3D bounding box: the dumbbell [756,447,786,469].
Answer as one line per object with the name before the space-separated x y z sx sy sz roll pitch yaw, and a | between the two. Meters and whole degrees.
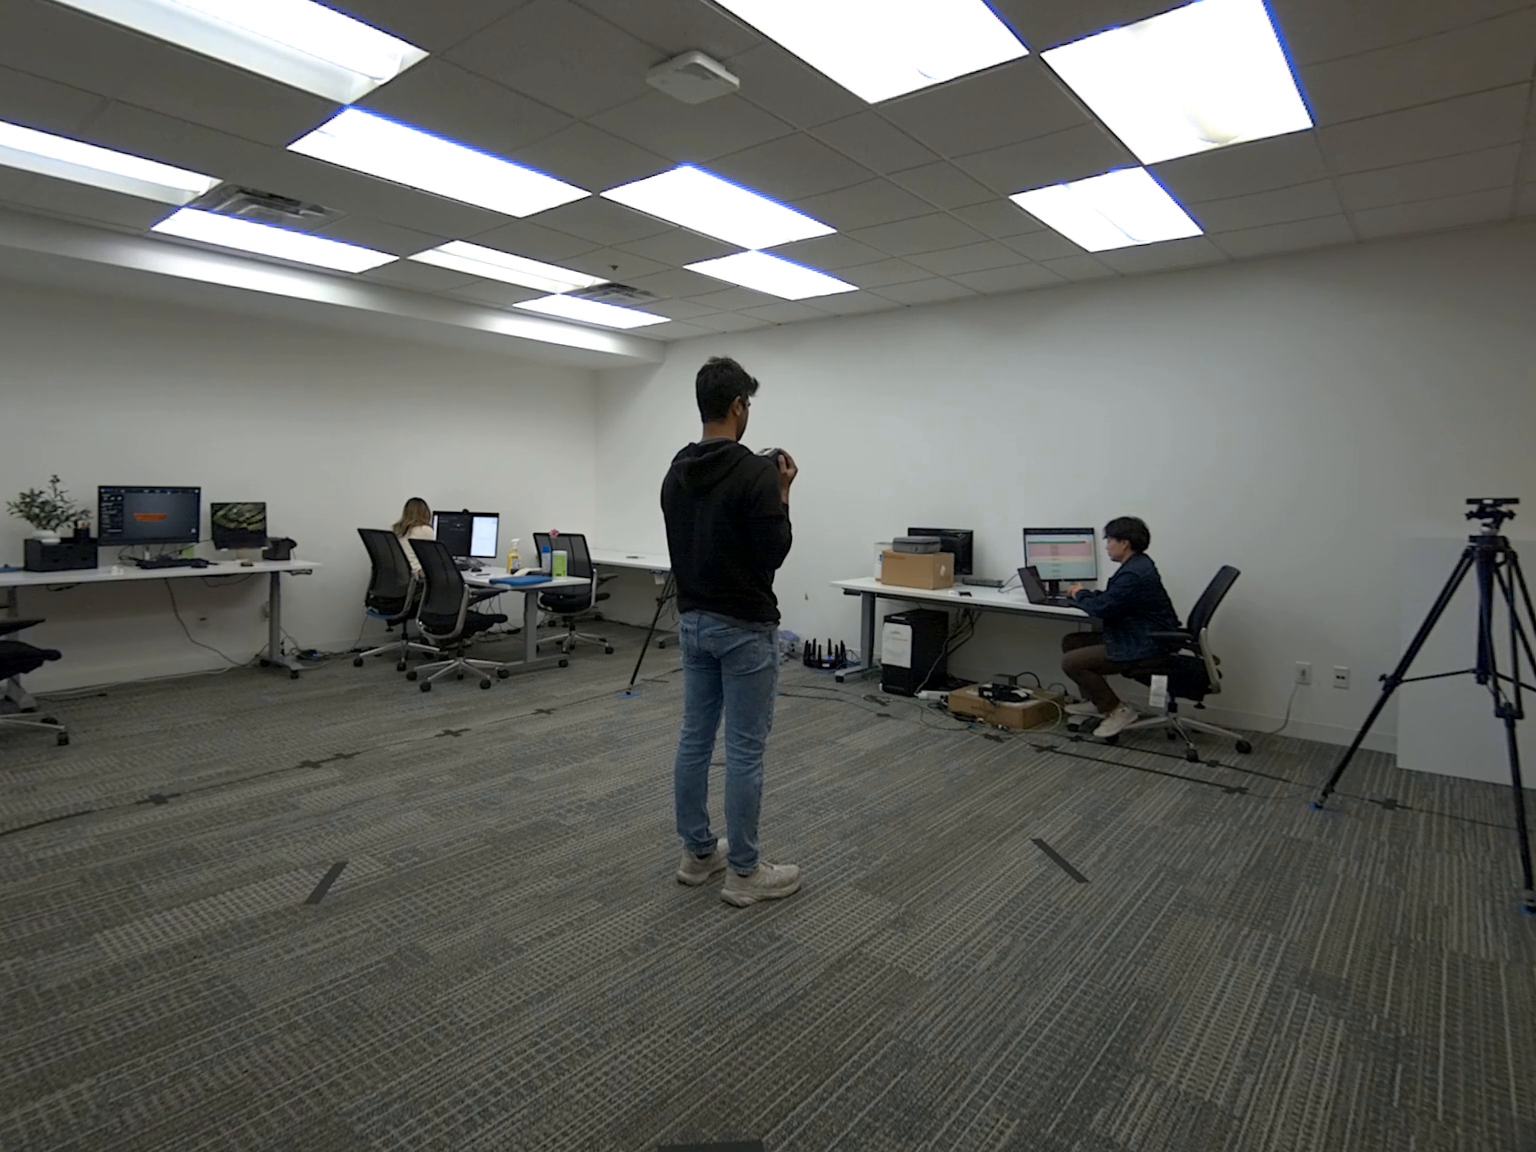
dumbbell | -0.089 -0.379 2.990 0.303 0.105 0.122 3 35 39
